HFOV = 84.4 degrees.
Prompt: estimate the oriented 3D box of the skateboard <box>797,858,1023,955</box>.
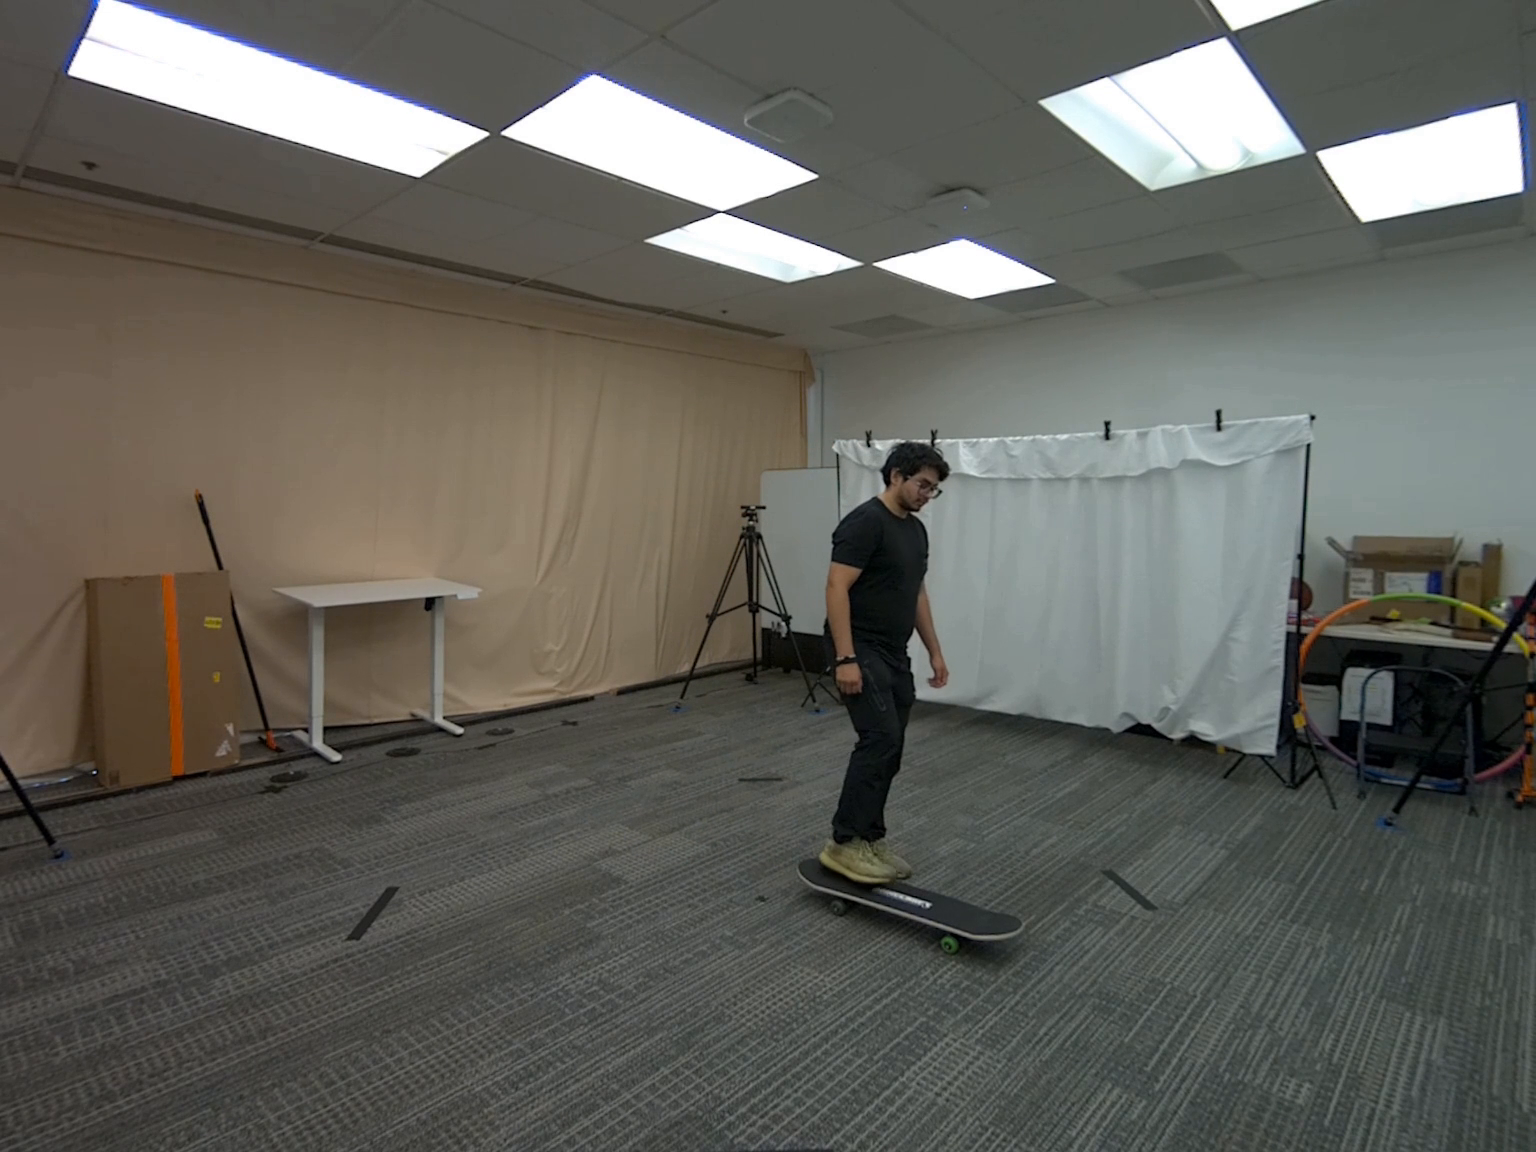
[{"bbox_3d":[0.452,1.100,2.801,0.810,0.110,0.188,3,6,36],"label":"skateboard"}]
